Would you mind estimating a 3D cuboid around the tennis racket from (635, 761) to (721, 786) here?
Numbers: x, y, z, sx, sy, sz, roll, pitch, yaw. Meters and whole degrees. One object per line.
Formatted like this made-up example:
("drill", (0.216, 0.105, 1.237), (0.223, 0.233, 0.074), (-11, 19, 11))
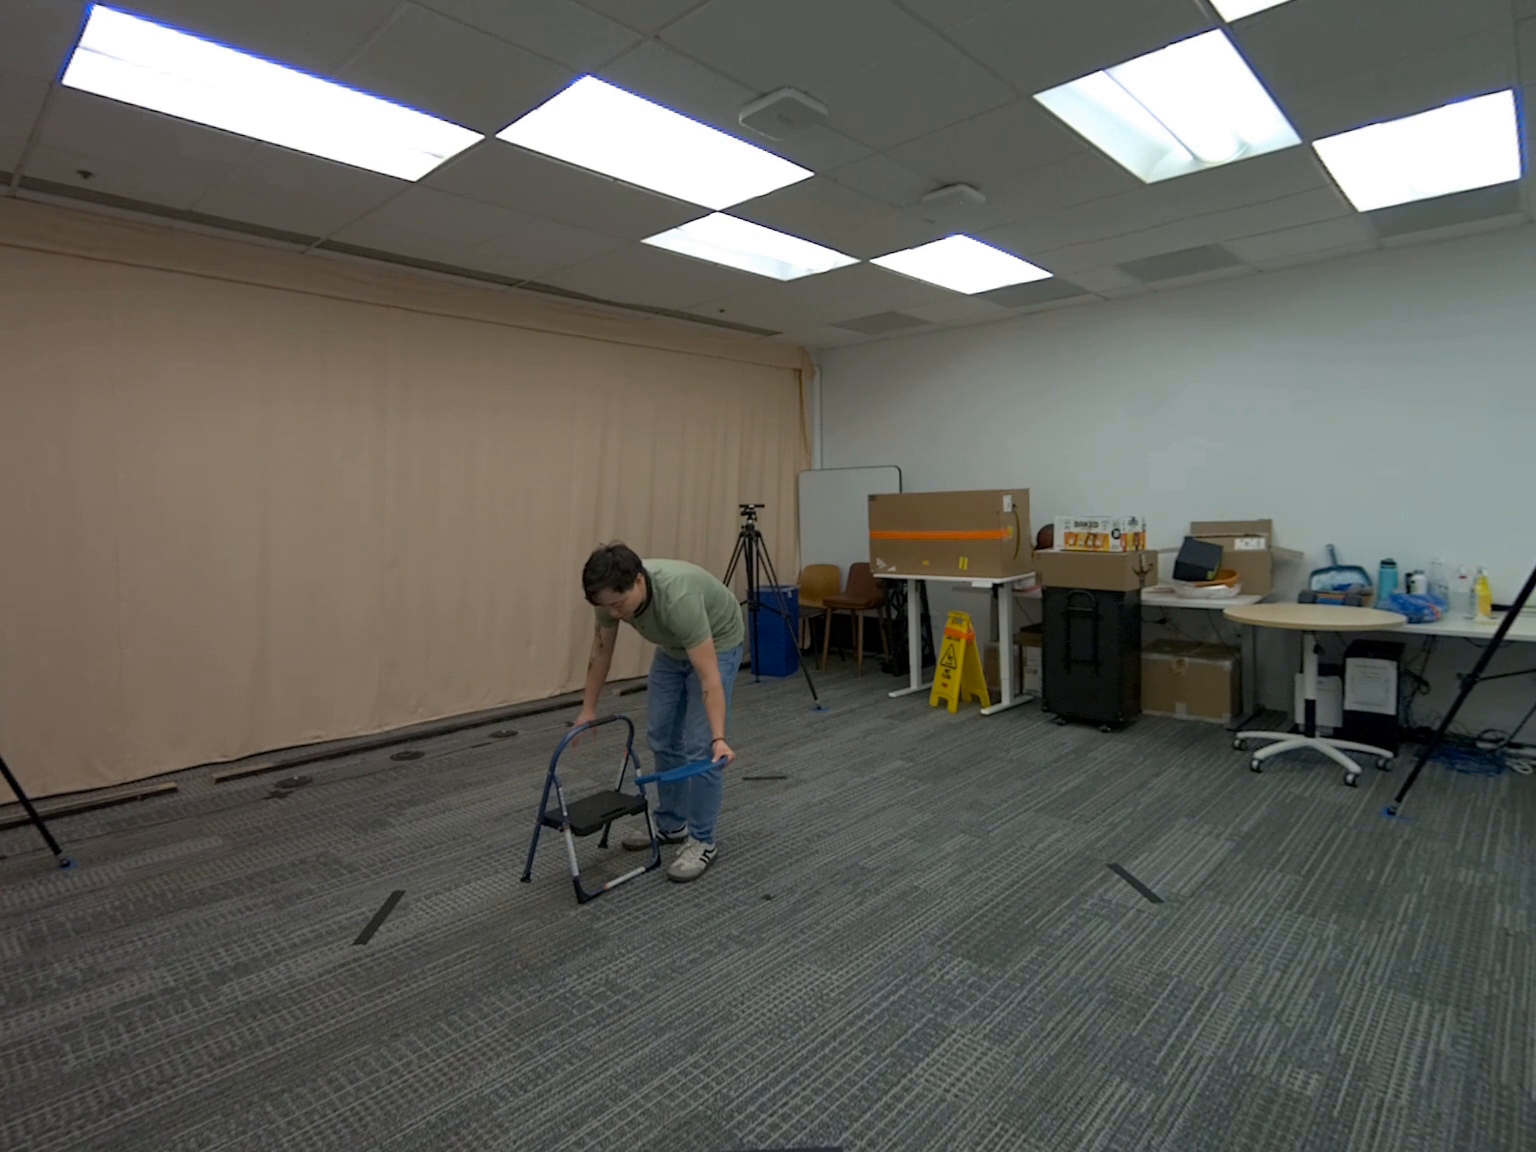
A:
("tennis racket", (-0.342, 0.691, 2.946), (0.442, 0.032, 0.208), (-22, -5, 42))
